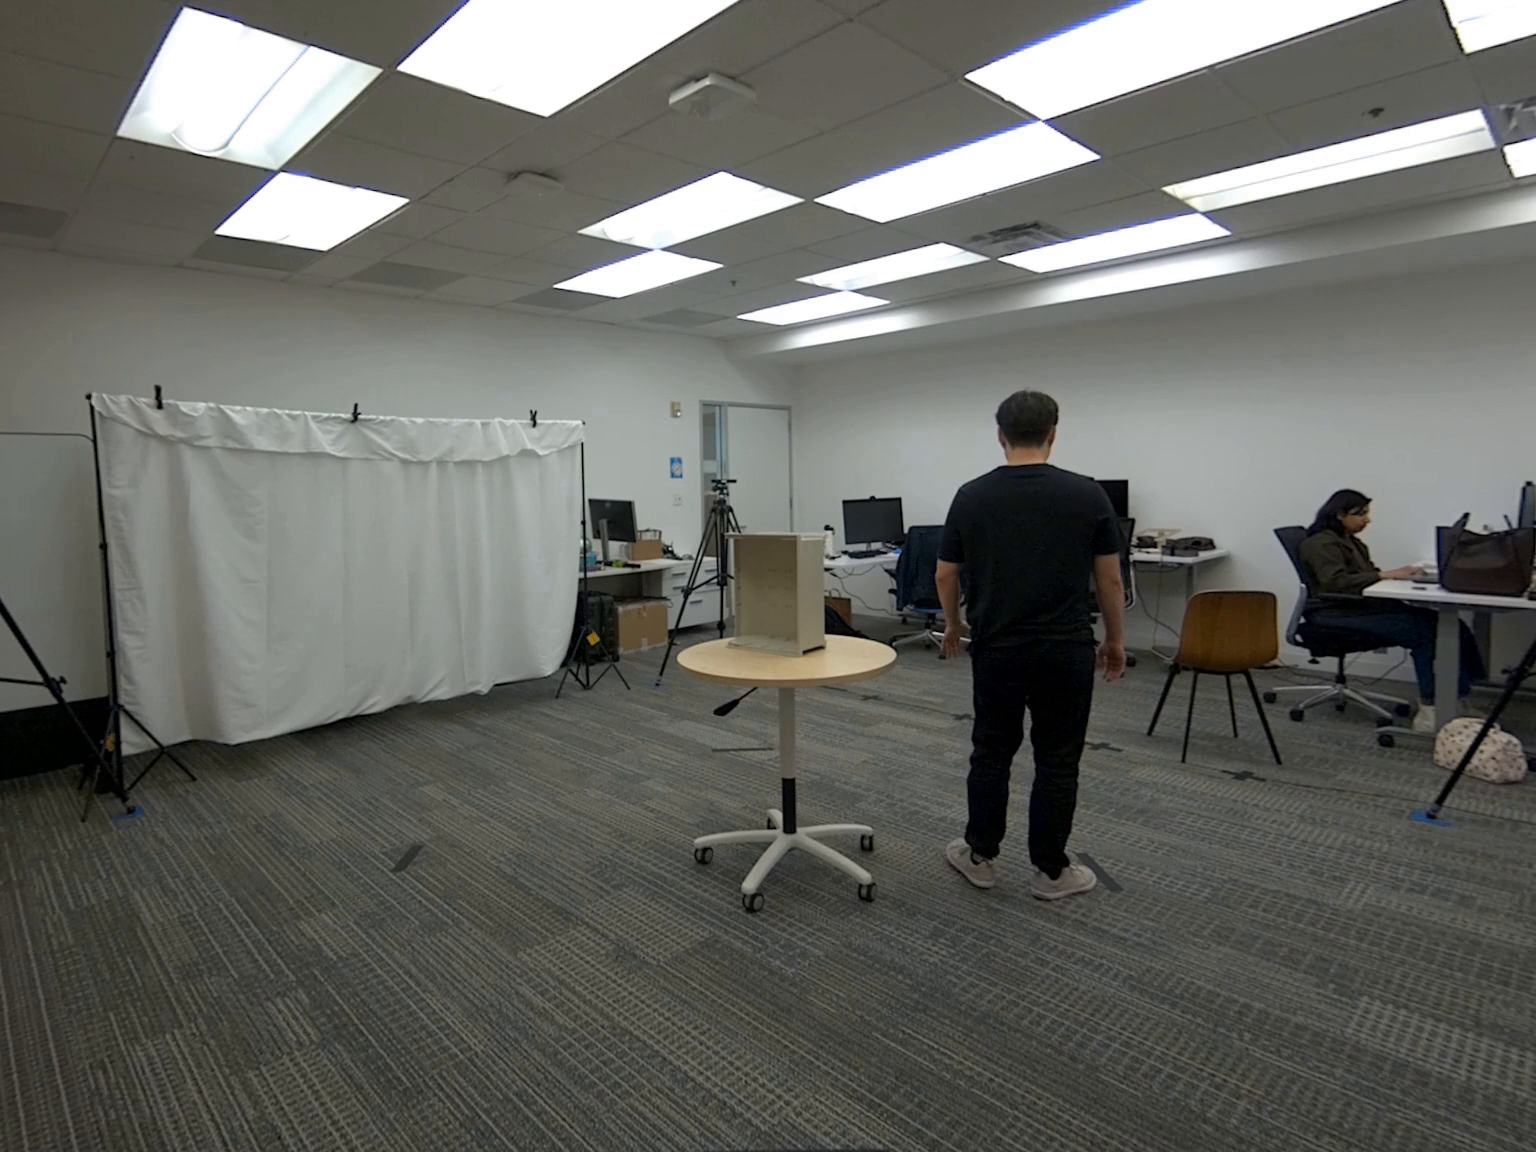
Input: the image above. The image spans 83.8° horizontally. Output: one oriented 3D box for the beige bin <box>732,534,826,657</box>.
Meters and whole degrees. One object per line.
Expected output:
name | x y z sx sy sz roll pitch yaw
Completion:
beige bin | 0.017 0.053 3.112 0.388 0.421 0.184 1 3 38
